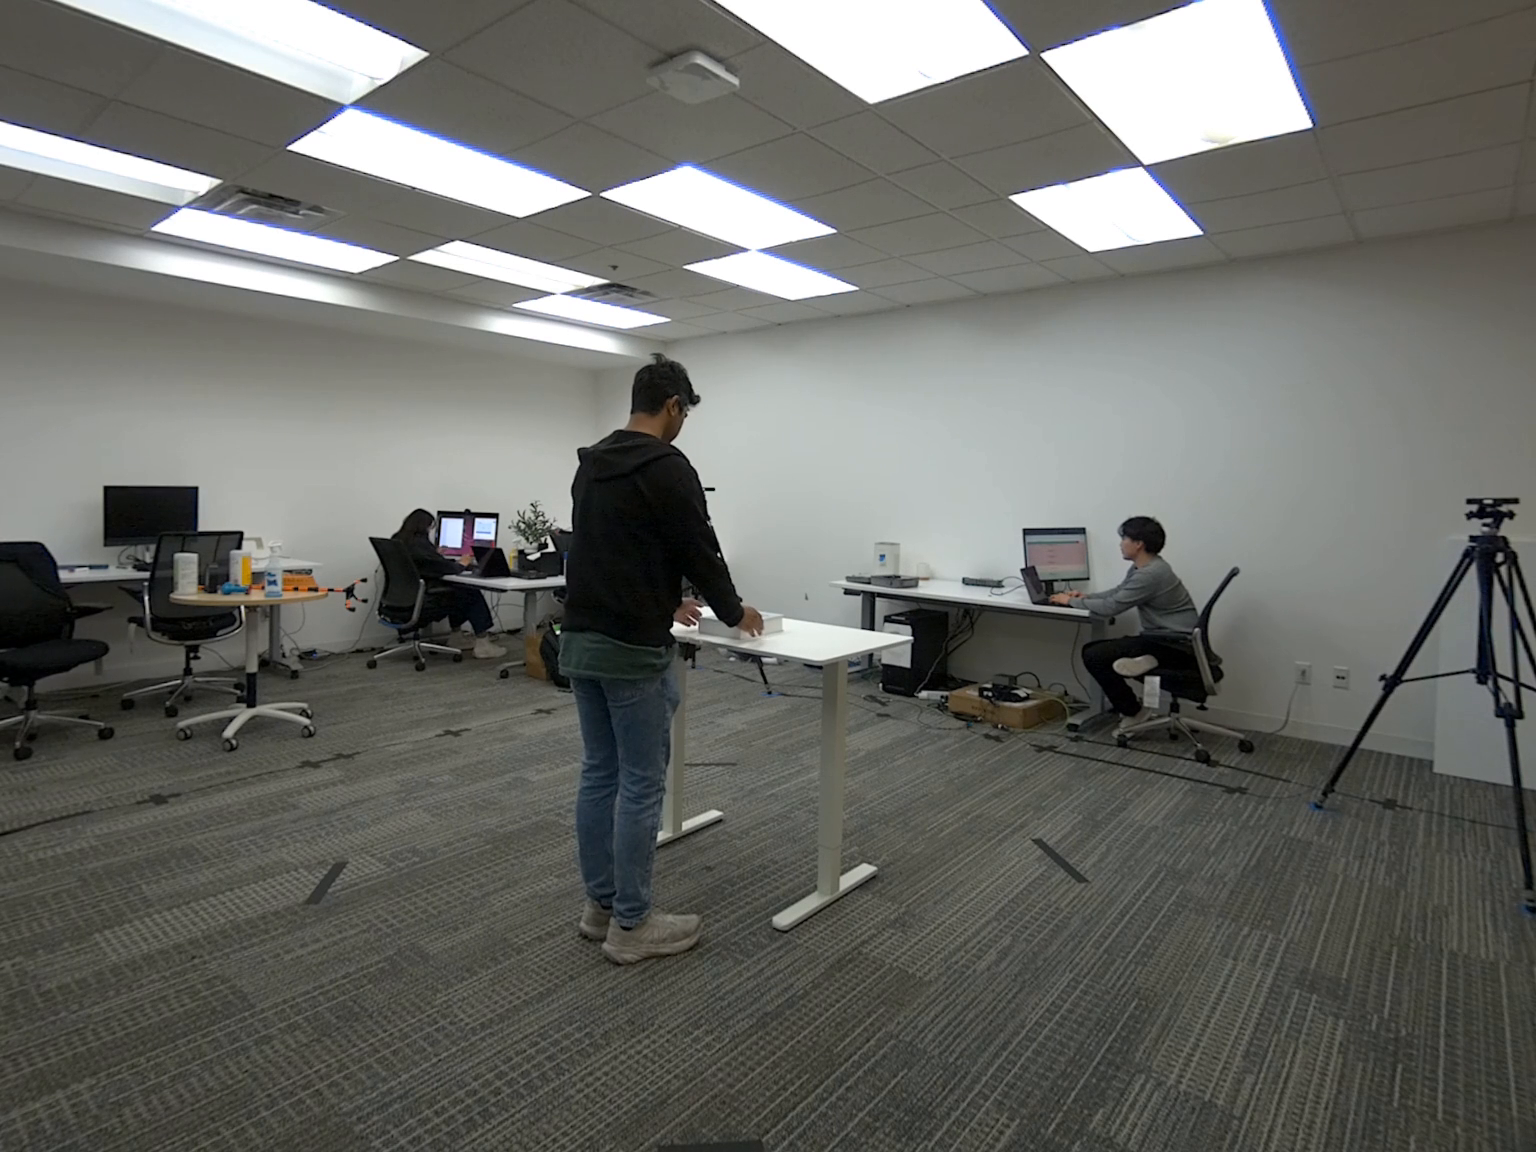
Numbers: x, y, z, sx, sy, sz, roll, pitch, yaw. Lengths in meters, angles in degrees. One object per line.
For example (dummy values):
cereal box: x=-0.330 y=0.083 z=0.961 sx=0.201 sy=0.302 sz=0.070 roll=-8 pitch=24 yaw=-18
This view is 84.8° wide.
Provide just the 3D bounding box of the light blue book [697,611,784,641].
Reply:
light blue book: x=-0.099 y=0.171 z=3.016 sx=0.197 sy=0.059 sz=0.254 roll=5 pitch=7 yaw=36
